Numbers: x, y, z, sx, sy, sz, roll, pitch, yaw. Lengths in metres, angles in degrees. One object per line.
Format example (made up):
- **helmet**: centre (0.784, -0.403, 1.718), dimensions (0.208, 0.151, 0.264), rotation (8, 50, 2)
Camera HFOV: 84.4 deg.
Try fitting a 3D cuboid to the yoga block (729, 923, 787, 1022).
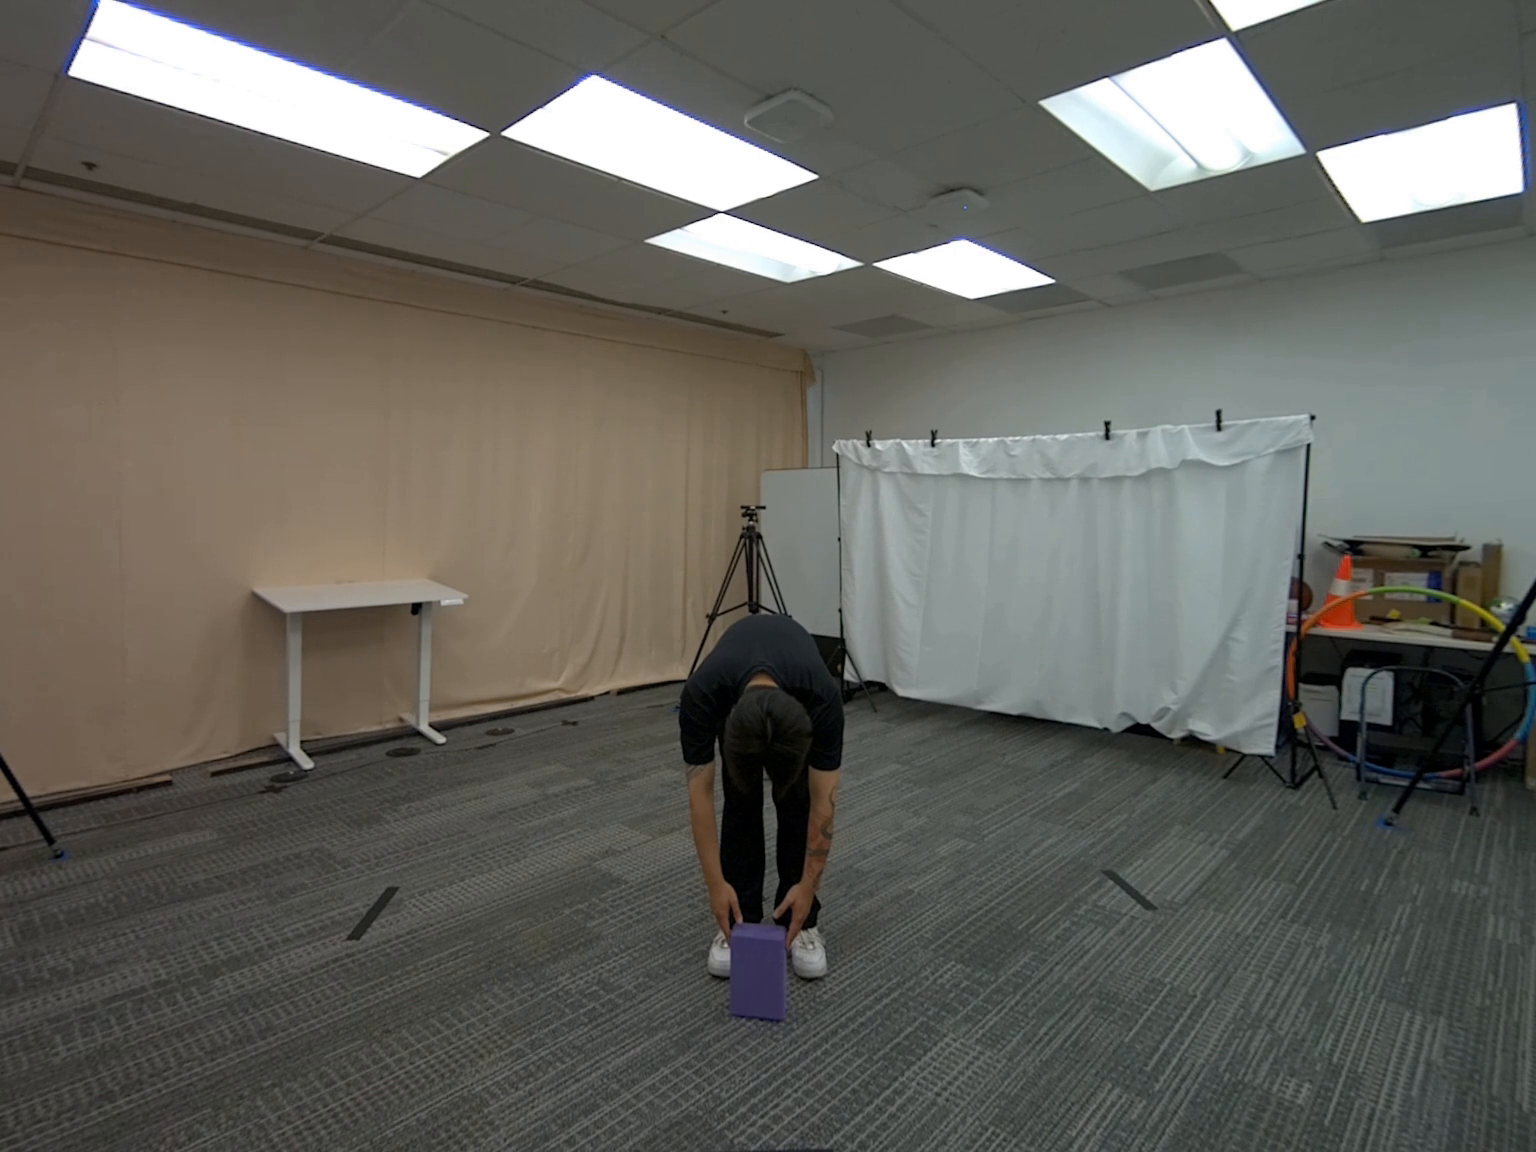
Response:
- **yoga block**: centre (-0.026, 1.081, 2.314), dimensions (0.150, 0.229, 0.076), rotation (-1, 3, 9)
